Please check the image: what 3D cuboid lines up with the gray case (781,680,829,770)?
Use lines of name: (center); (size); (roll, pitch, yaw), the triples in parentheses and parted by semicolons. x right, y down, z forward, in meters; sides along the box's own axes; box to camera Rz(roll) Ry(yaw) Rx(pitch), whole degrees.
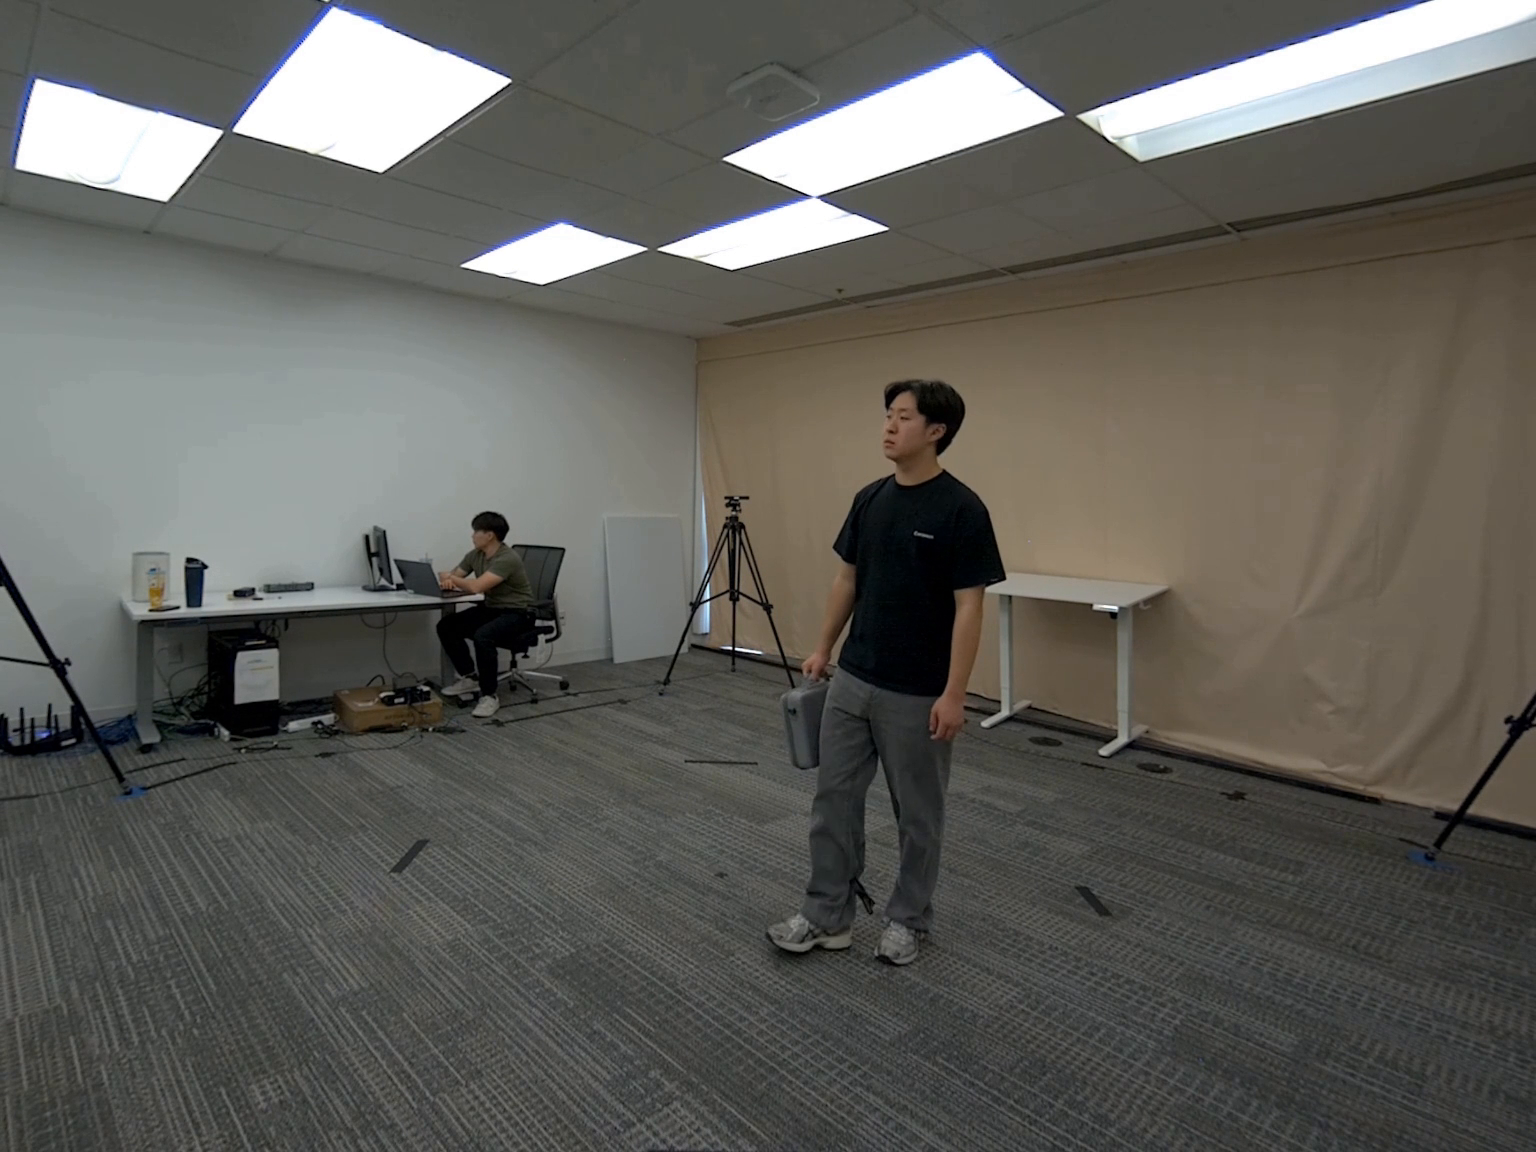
gray case: (0.174, 0.475, 2.796); (0.258, 0.287, 0.105); (-12, 2, -41)
